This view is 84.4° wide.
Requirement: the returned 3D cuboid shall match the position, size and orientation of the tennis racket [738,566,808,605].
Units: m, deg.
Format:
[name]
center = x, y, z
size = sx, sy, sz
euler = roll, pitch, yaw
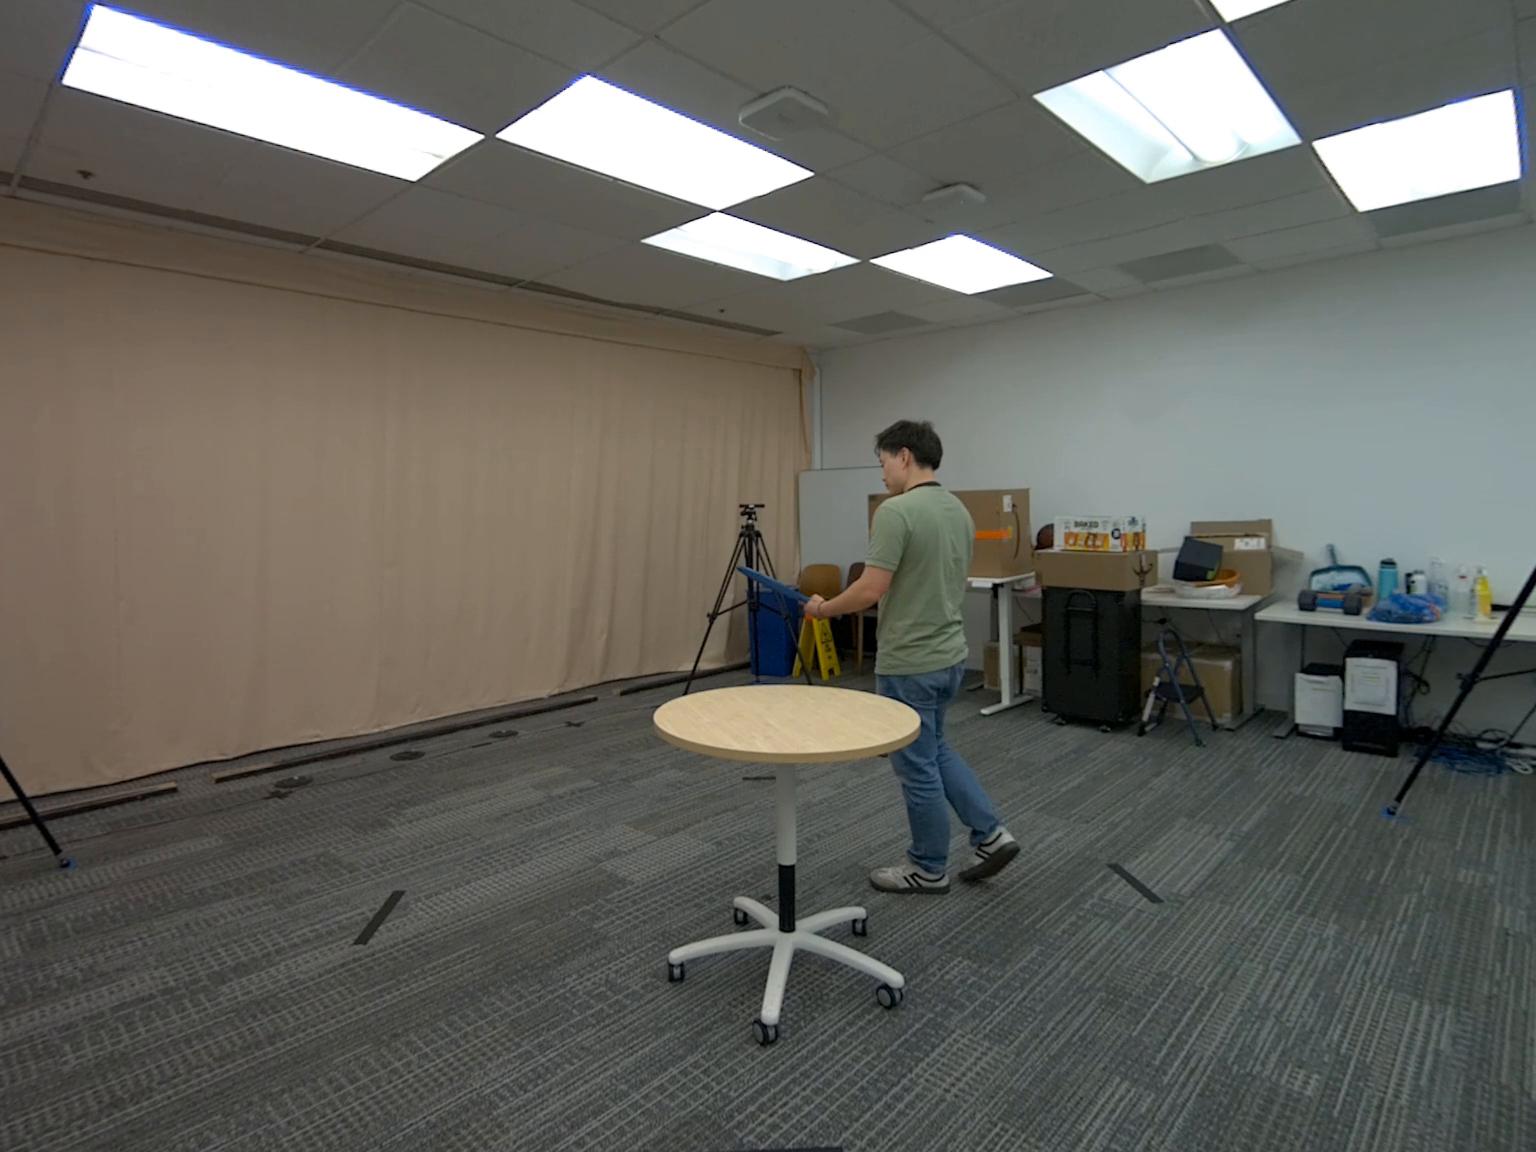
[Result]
[tennis racket]
center = 0.071, 0.059, 3.116
size = 0.440, 0.032, 0.210
euler = 23, -8, 12
